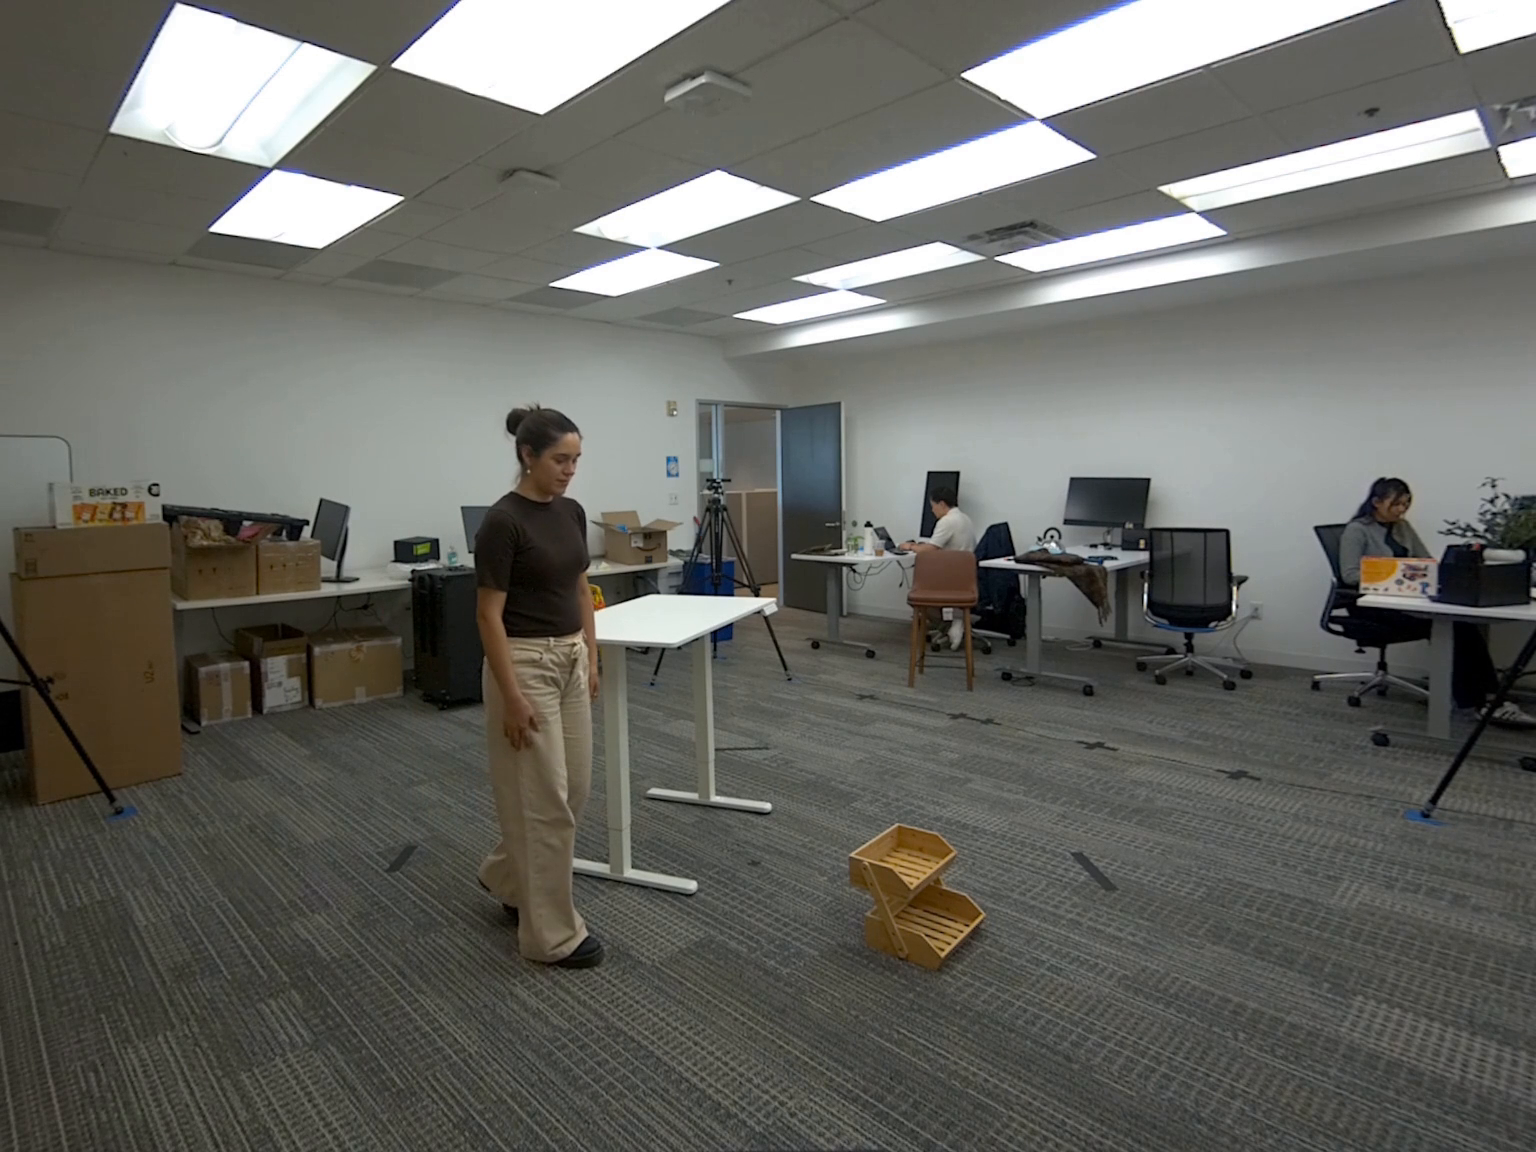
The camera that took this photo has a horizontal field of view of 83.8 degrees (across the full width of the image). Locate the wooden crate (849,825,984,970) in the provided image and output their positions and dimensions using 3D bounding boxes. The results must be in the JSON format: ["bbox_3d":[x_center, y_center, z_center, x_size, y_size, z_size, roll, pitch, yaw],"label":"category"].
[{"bbox_3d":[0.468,0.963,2.596,0.311,0.272,0.316,2,6,38],"label":"wooden crate"}]
